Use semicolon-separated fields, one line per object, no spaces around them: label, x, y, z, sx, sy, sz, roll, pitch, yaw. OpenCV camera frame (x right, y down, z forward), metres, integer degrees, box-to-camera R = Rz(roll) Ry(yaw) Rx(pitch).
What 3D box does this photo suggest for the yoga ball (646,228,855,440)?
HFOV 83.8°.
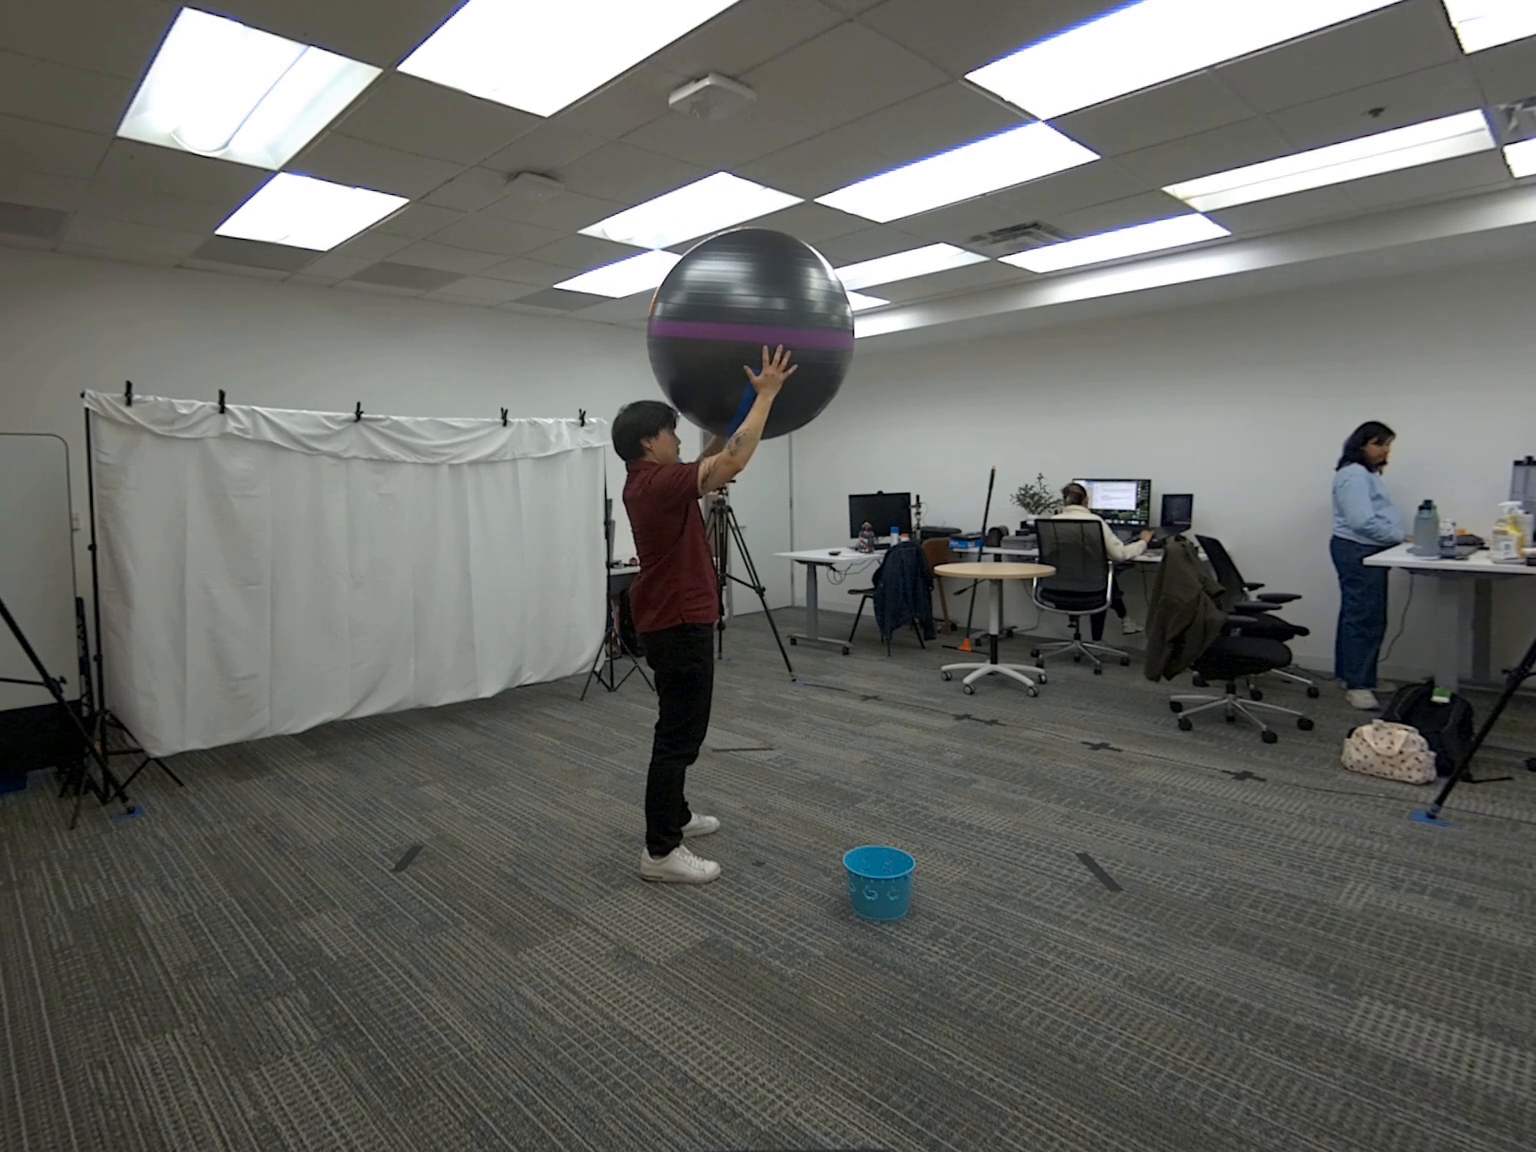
yoga ball;-0.066;-0.876;3.152;0.757;0.755;0.762;-1;5;-2
